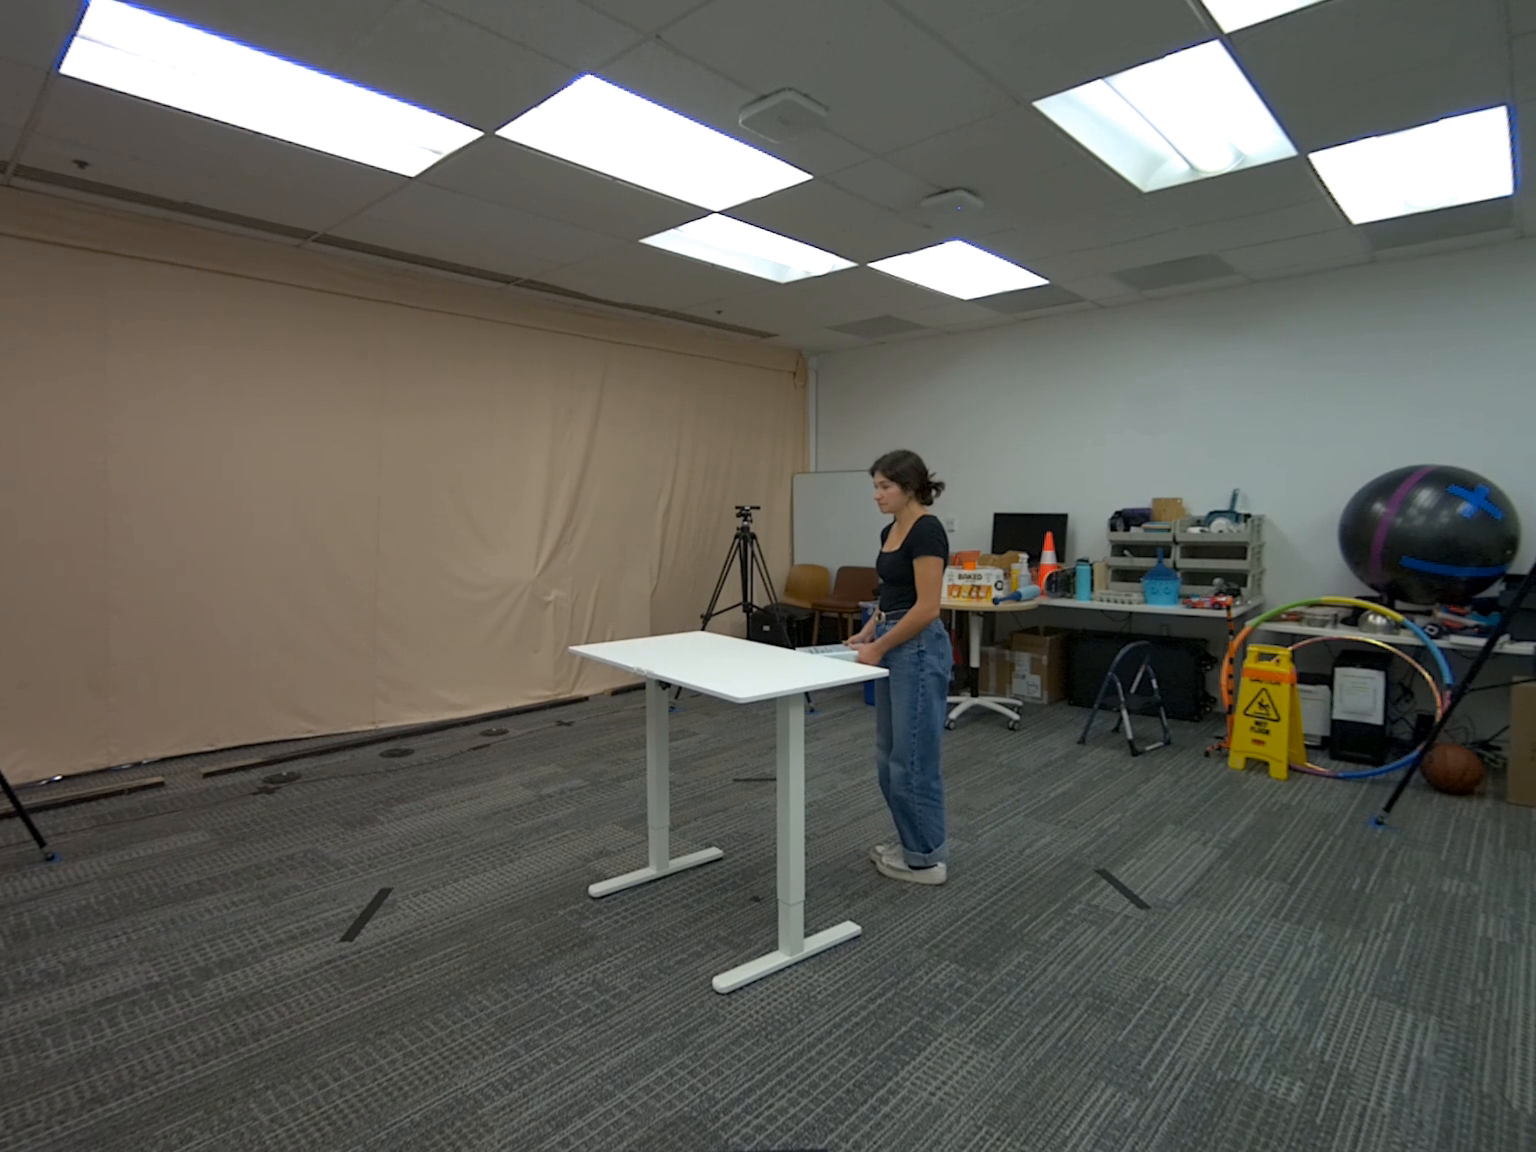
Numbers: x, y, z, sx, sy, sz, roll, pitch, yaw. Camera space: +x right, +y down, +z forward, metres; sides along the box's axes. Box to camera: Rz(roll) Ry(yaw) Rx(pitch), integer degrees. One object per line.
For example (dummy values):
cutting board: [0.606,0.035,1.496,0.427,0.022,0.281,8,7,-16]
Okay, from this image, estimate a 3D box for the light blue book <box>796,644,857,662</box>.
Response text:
light blue book: [0.255,0.315,3.164,0.260,0.059,0.192,-4,5,-4]
